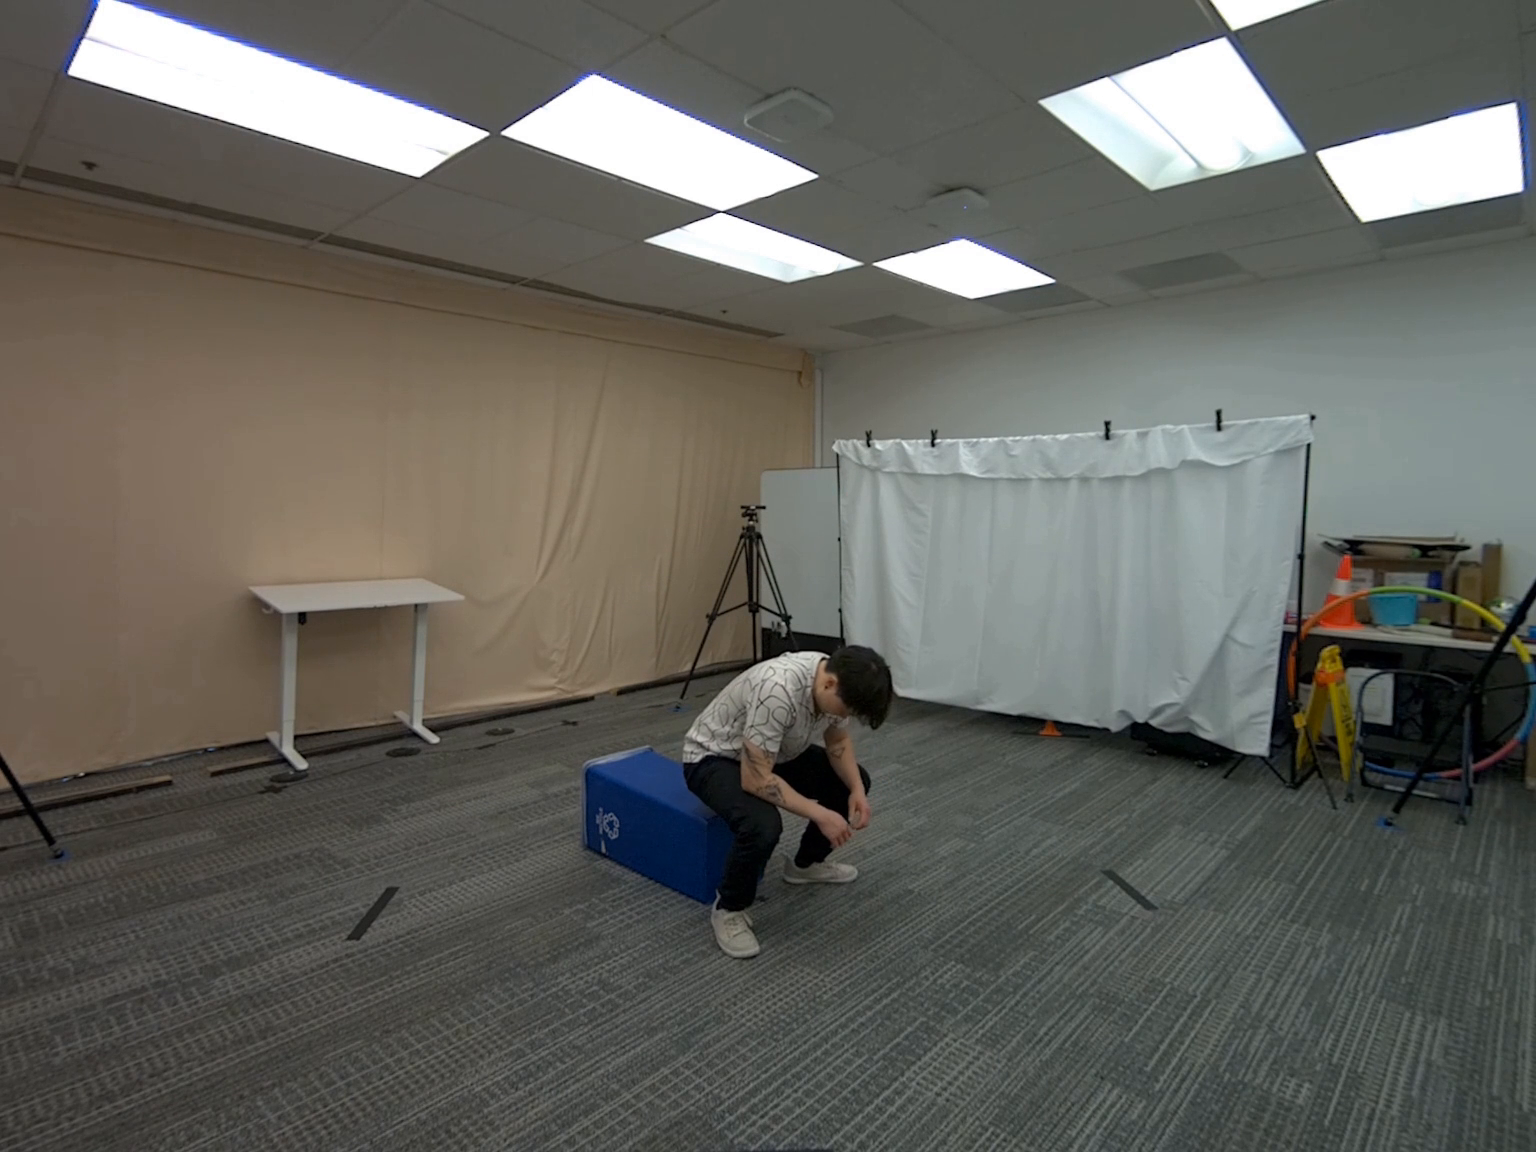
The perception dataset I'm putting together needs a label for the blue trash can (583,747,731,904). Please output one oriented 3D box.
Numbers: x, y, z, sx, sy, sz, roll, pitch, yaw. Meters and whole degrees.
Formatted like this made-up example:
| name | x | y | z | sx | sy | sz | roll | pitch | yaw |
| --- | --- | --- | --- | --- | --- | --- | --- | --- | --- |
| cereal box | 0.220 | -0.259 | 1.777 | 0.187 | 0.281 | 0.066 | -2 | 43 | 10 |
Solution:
| name | x | y | z | sx | sy | sz | roll | pitch | yaw |
| --- | --- | --- | --- | --- | --- | --- | --- | --- | --- |
| blue trash can | -0.369 | 0.949 | 3.268 | 0.362 | 0.377 | 0.738 | -4 | 7 | -44 |
